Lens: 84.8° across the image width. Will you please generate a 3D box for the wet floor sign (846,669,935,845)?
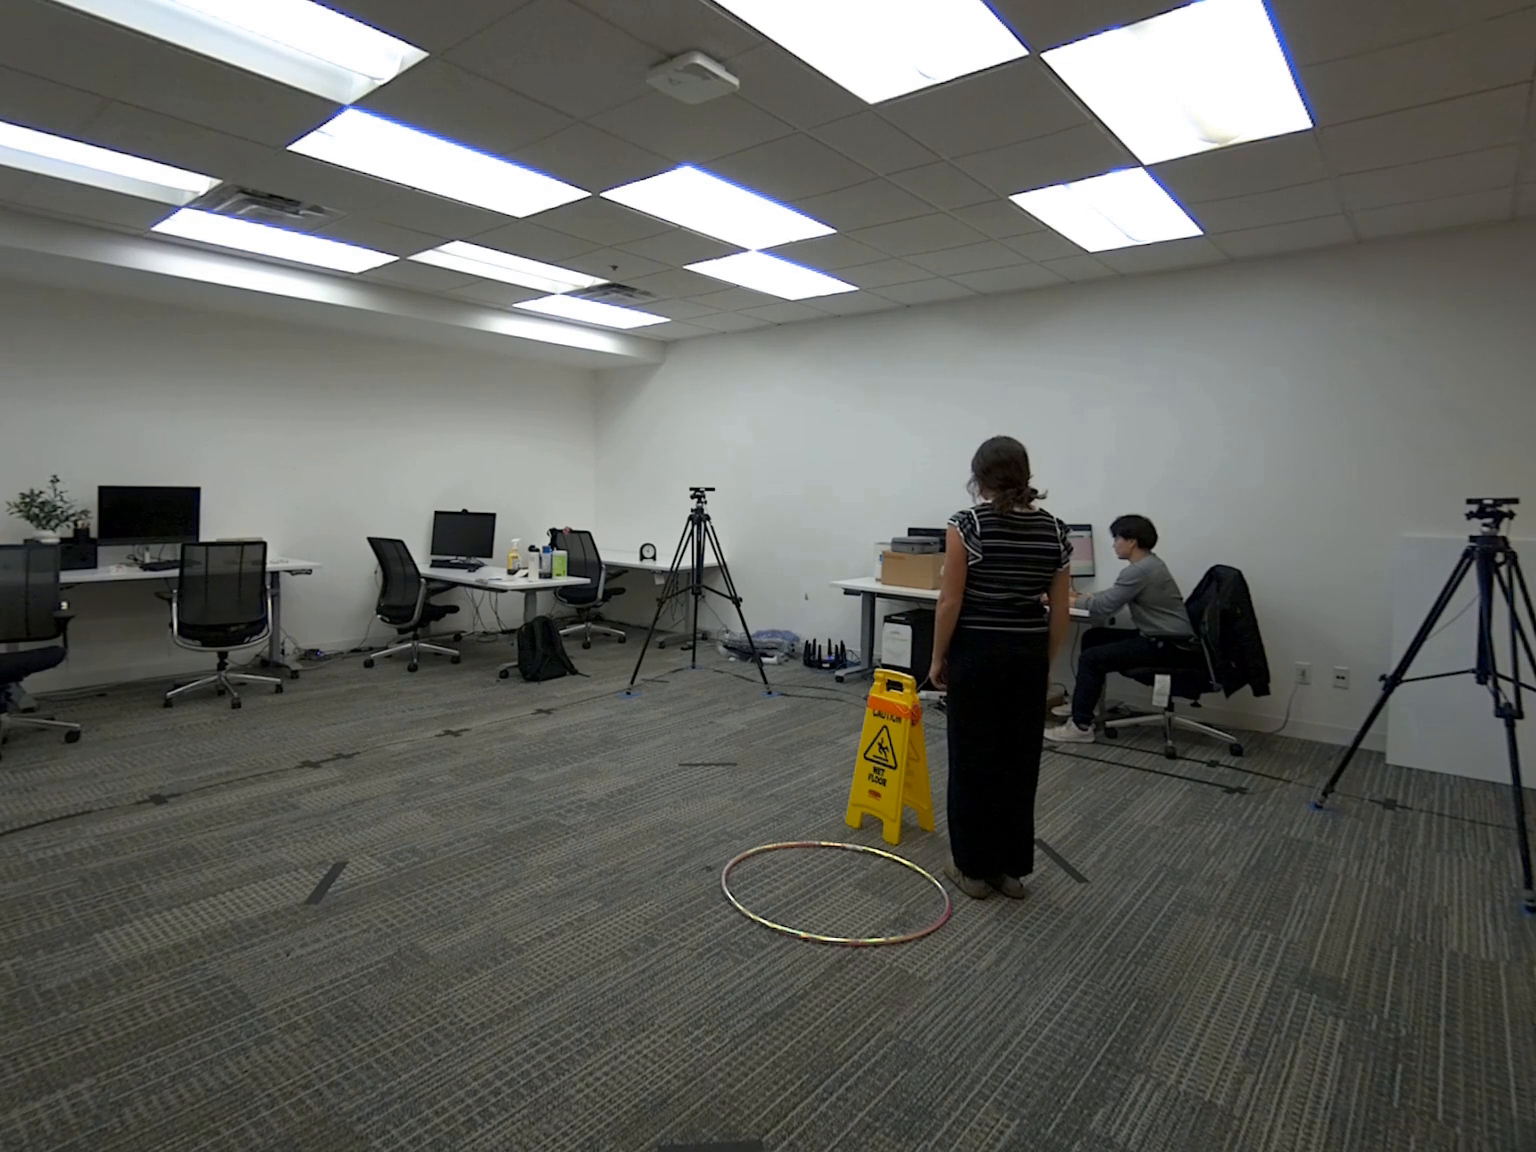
[{"bbox_3d":[0.505,0.716,3.519,0.281,0.644,0.292,-2,4,-40],"label":"wet floor sign"}]
